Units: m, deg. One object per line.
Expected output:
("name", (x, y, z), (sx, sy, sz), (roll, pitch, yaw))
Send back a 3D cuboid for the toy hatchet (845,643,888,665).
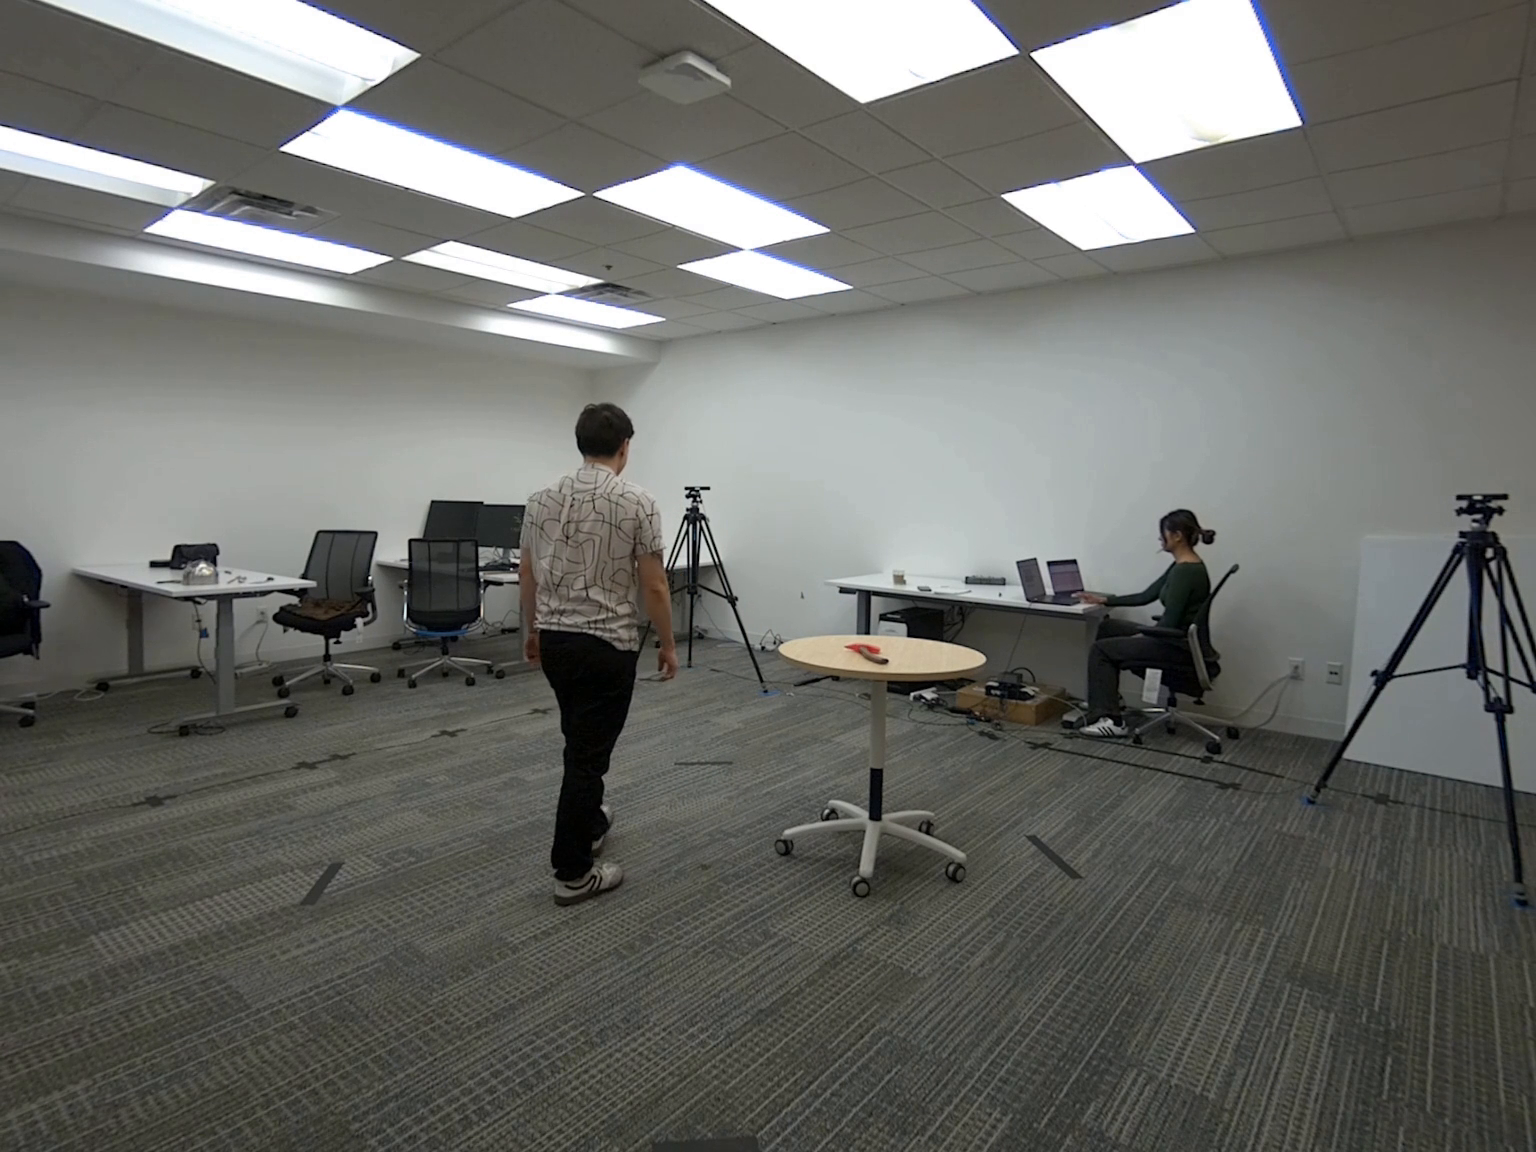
("toy hatchet", (0.391, 0.283, 3.103), (0.128, 0.029, 0.277), (4, 6, -22))
